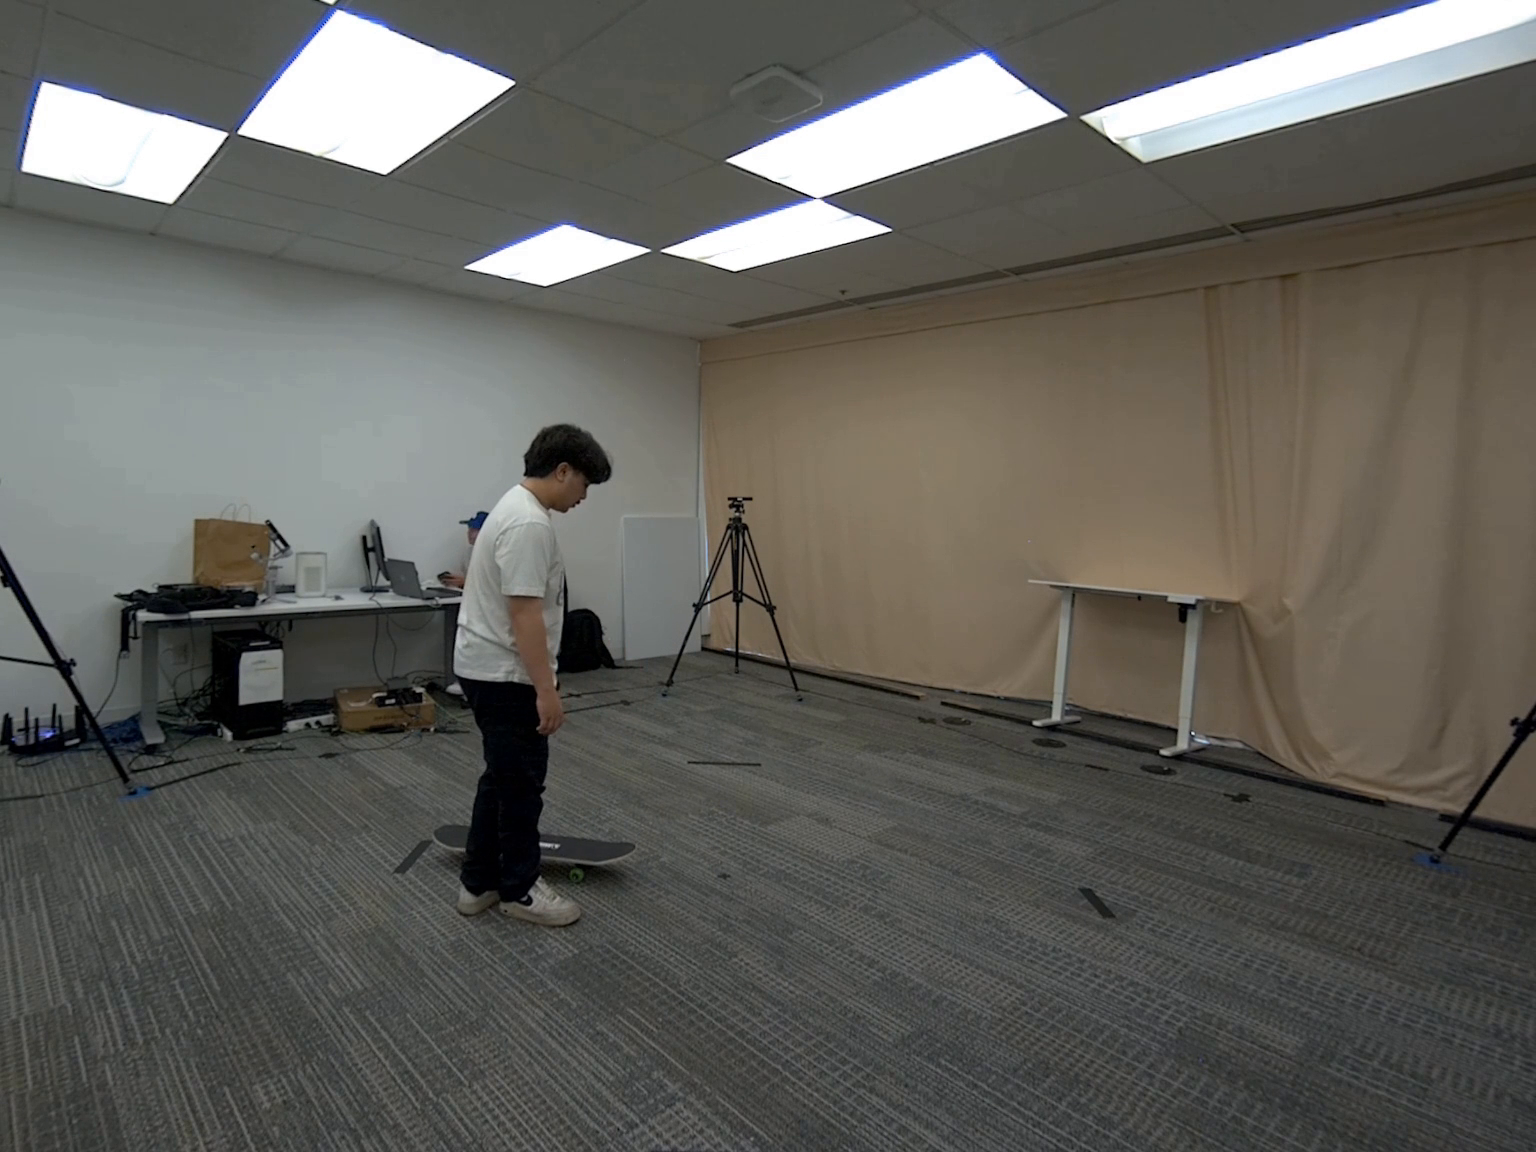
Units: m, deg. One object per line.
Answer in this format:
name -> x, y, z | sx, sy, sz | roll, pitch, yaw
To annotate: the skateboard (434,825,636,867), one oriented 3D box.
skateboard -> -0.875, 1.031, 3.128 | 0.793, 0.110, 0.192 | 2, 5, 11
